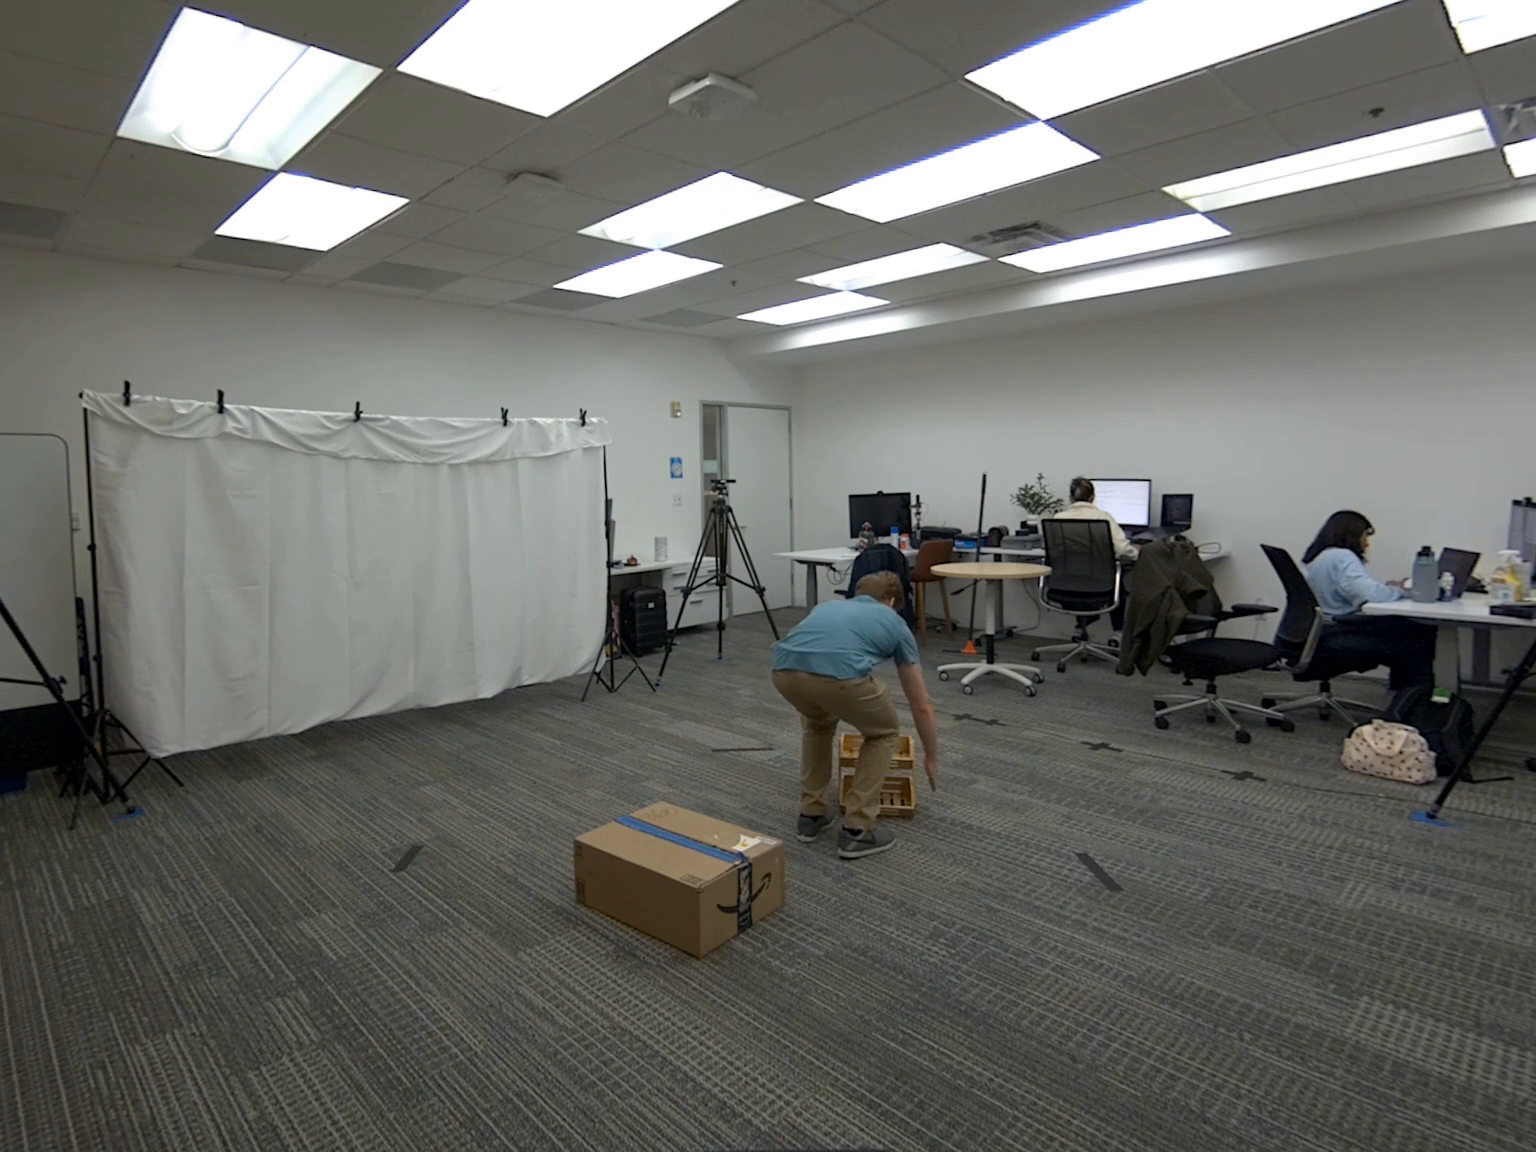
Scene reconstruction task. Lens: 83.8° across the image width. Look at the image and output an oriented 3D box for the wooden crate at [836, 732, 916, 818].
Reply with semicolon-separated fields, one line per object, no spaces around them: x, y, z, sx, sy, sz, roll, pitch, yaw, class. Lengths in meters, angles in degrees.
0.462;0.842;3.645;0.327;0.272;0.300;0;4;8;wooden crate
